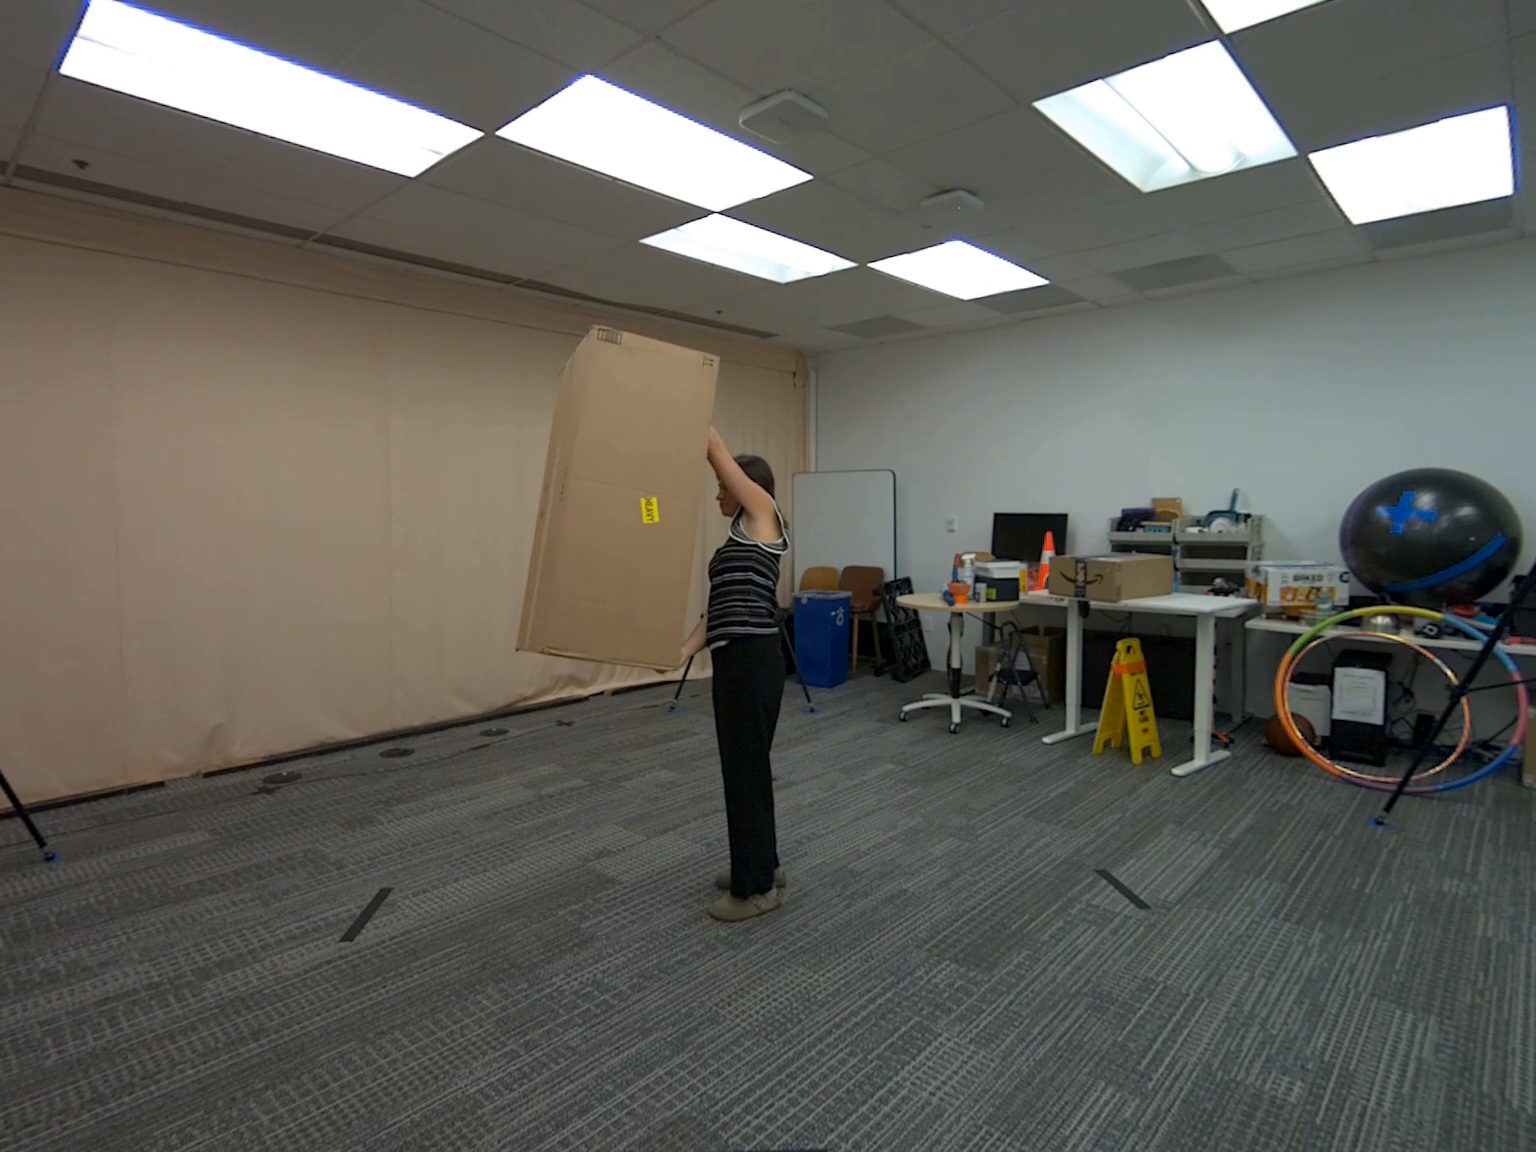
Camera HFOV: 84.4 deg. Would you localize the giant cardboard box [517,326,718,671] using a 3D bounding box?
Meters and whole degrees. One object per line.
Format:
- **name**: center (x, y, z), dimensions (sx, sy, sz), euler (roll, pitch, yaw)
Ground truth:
- **giant cardboard box**: center (-0.523, -0.226, 2.857), dimensions (0.416, 1.029, 0.589), euler (10, -8, -22)
